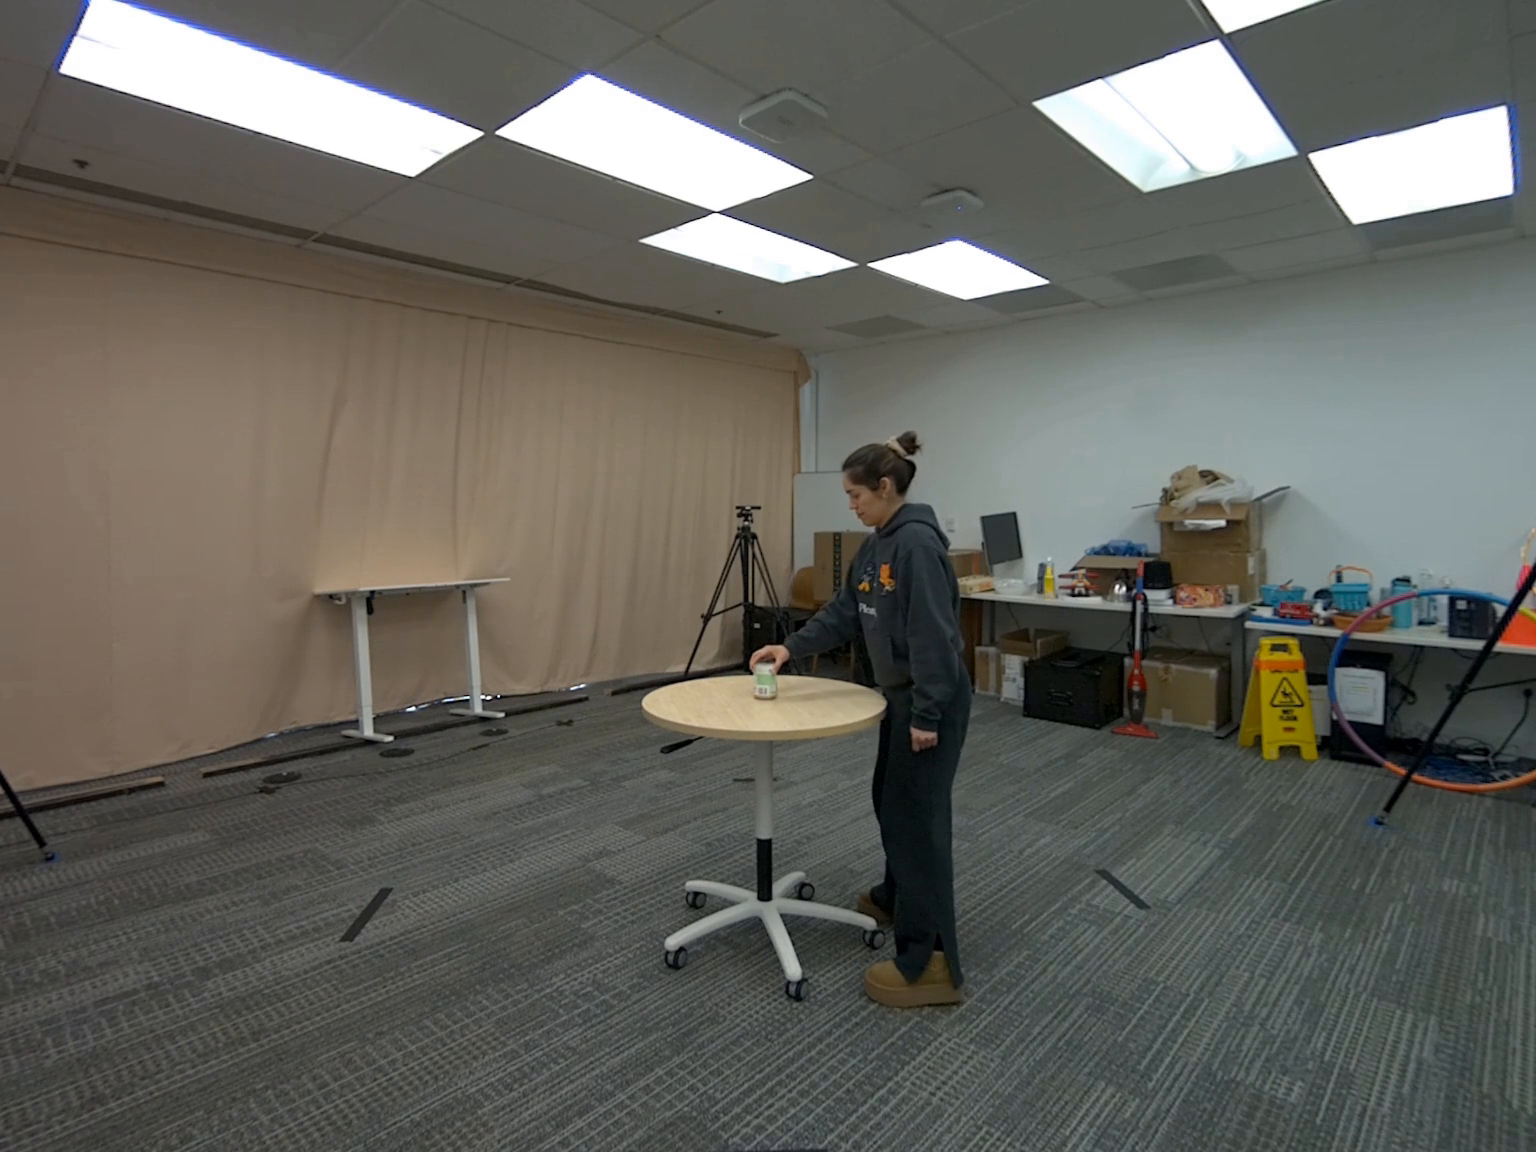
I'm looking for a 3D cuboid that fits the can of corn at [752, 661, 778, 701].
[{"bbox_3d":[0.013,0.323,2.664,0.074,0.111,0.074,1,-2,-2],"label":"can of corn"}]
